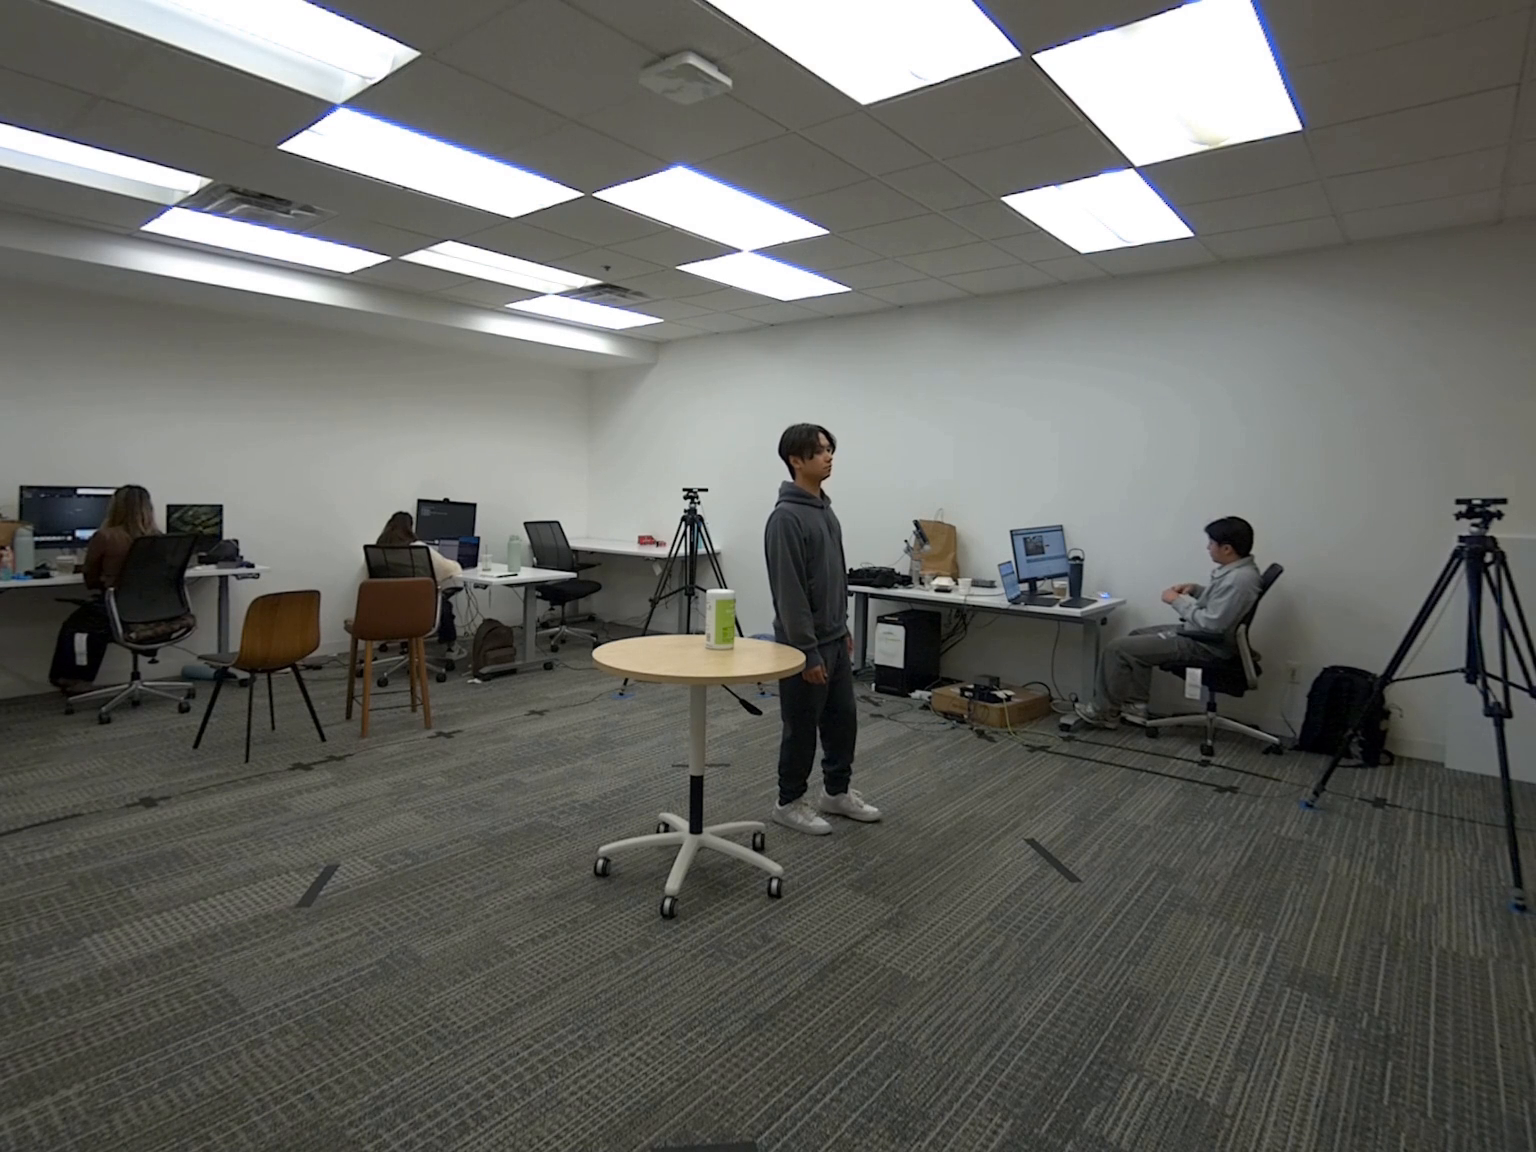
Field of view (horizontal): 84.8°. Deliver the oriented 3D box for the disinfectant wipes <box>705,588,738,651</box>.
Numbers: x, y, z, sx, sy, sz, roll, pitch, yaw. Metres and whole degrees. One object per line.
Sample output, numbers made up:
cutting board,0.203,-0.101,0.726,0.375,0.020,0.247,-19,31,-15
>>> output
disinfectant wipes,-0.194,0.161,3.181,0.117,0.217,0.118,2,3,-2
